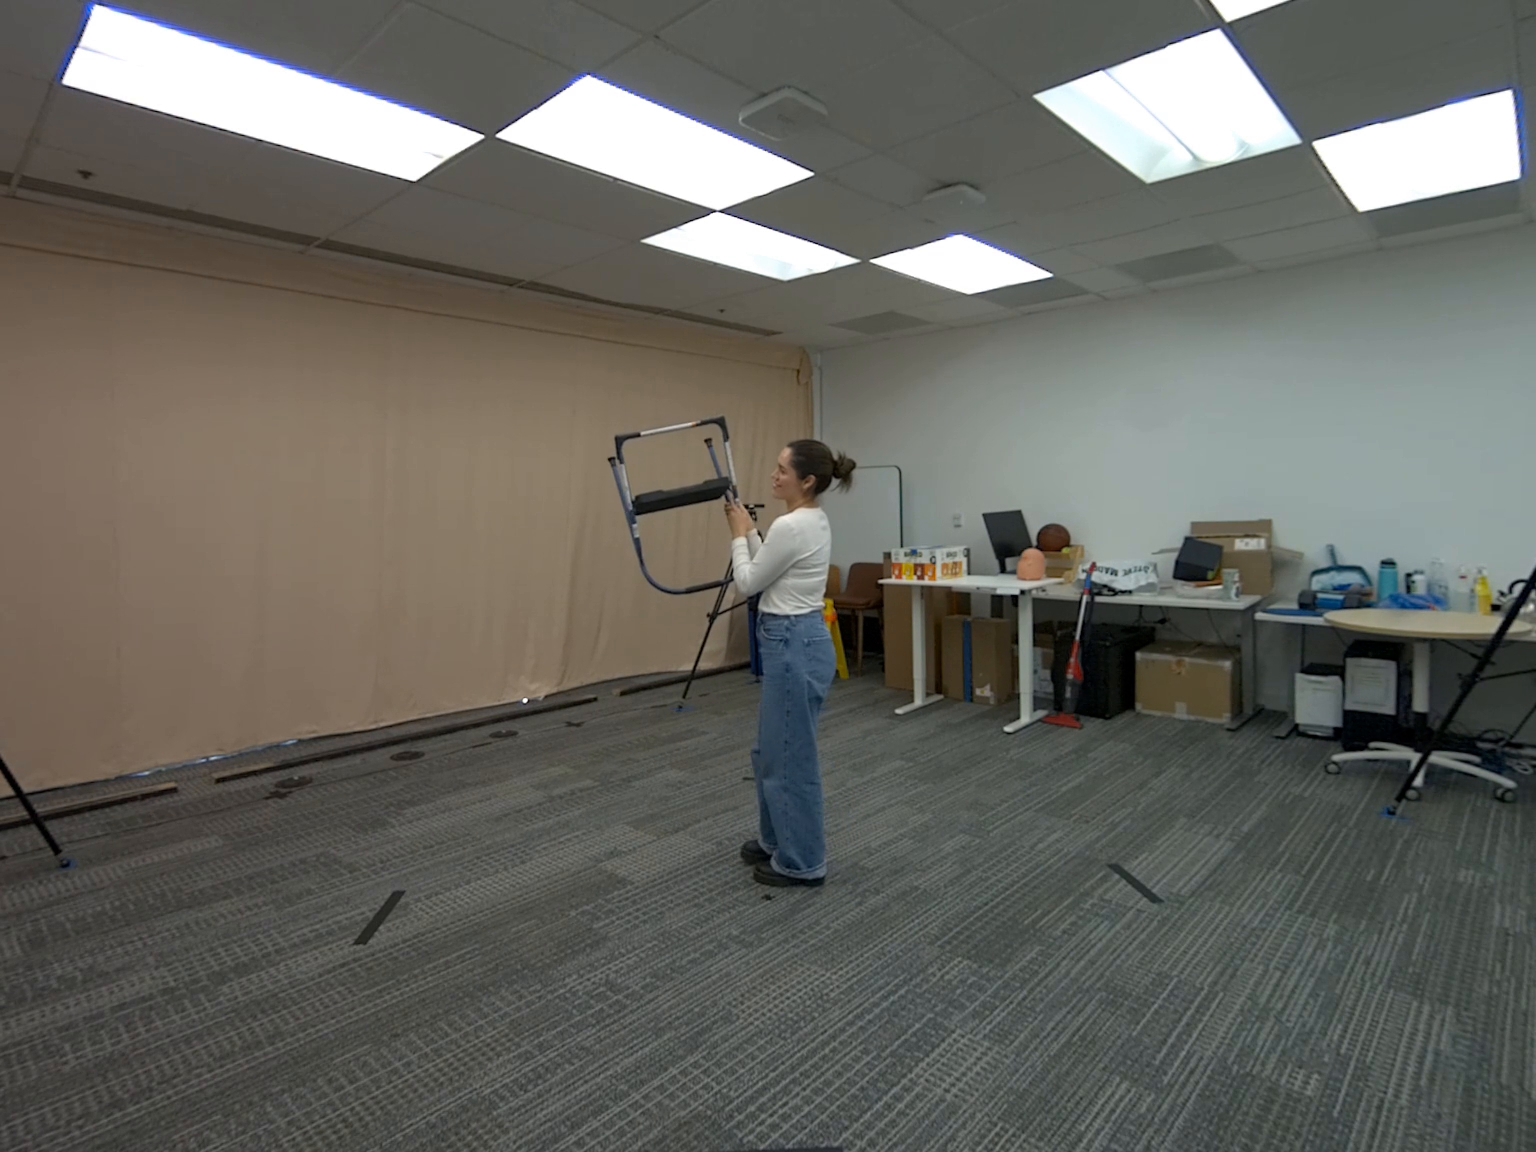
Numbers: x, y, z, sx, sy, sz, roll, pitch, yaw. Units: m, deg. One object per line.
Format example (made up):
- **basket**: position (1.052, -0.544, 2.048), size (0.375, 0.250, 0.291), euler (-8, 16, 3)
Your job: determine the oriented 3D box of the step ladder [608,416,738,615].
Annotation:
- **step ladder**: position (-0.313, -0.239, 3.169), size (0.426, 0.609, 0.351), euler (-13, -6, -12)
